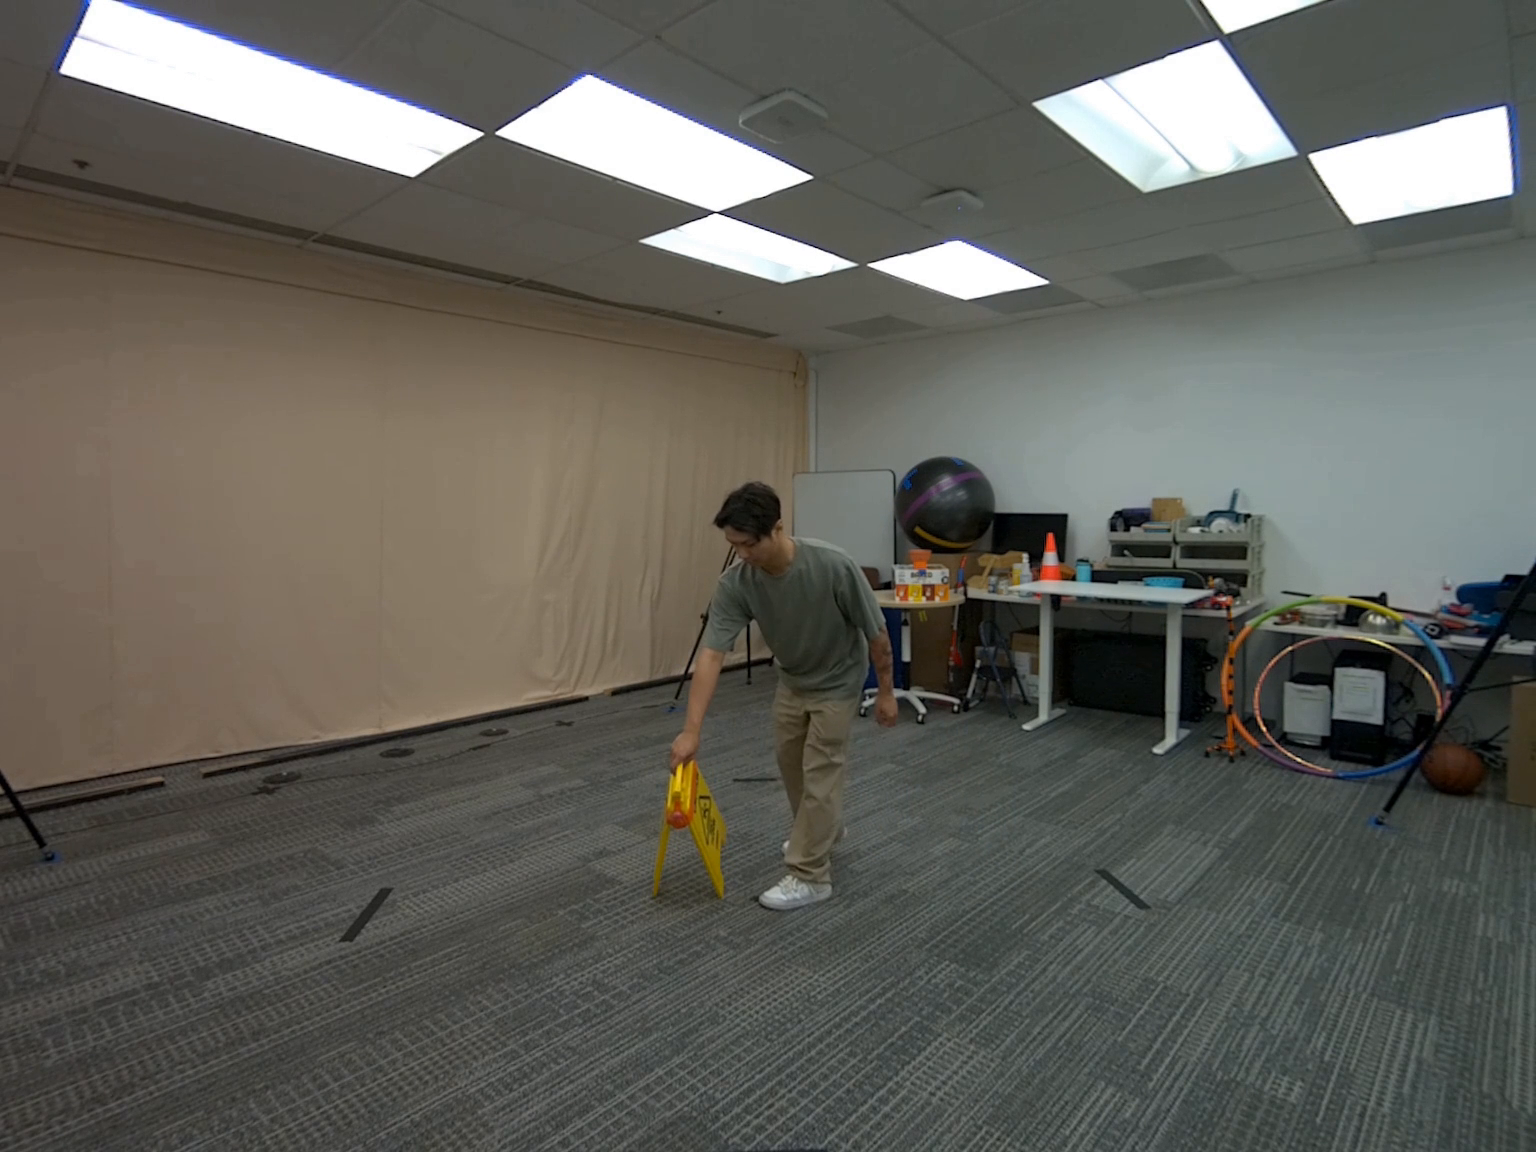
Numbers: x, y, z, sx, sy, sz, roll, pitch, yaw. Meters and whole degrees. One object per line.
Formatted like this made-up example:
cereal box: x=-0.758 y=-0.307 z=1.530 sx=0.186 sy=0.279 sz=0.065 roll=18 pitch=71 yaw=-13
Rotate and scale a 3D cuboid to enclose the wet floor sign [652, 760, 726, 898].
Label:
wet floor sign: x=-0.286 y=0.823 z=2.884 sx=0.291 sy=0.634 sz=0.287 roll=2 pitch=41 yaw=2
